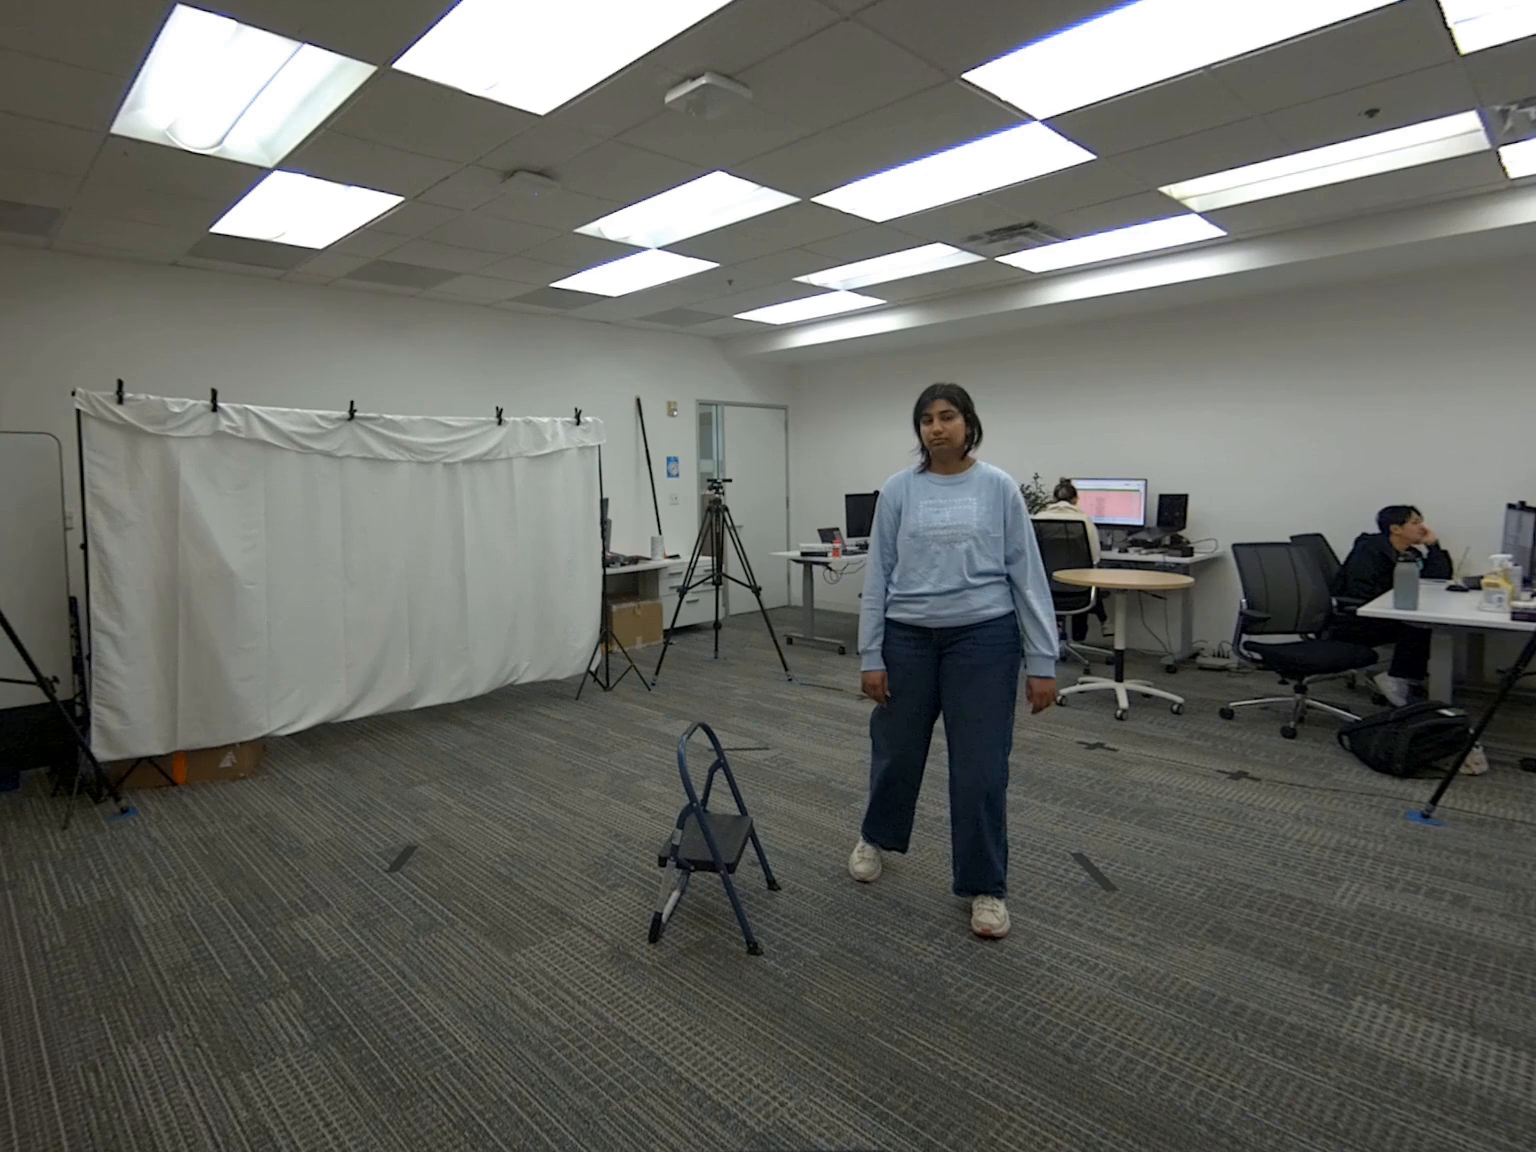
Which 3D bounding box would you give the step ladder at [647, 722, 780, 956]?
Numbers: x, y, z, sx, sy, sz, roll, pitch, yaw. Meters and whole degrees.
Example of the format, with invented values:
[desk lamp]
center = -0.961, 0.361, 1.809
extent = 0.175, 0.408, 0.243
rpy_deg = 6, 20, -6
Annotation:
[step ladder]
center = -0.164, 0.791, 2.725
extent = 0.353, 0.604, 0.428
rpy_deg = 1, 5, 10
